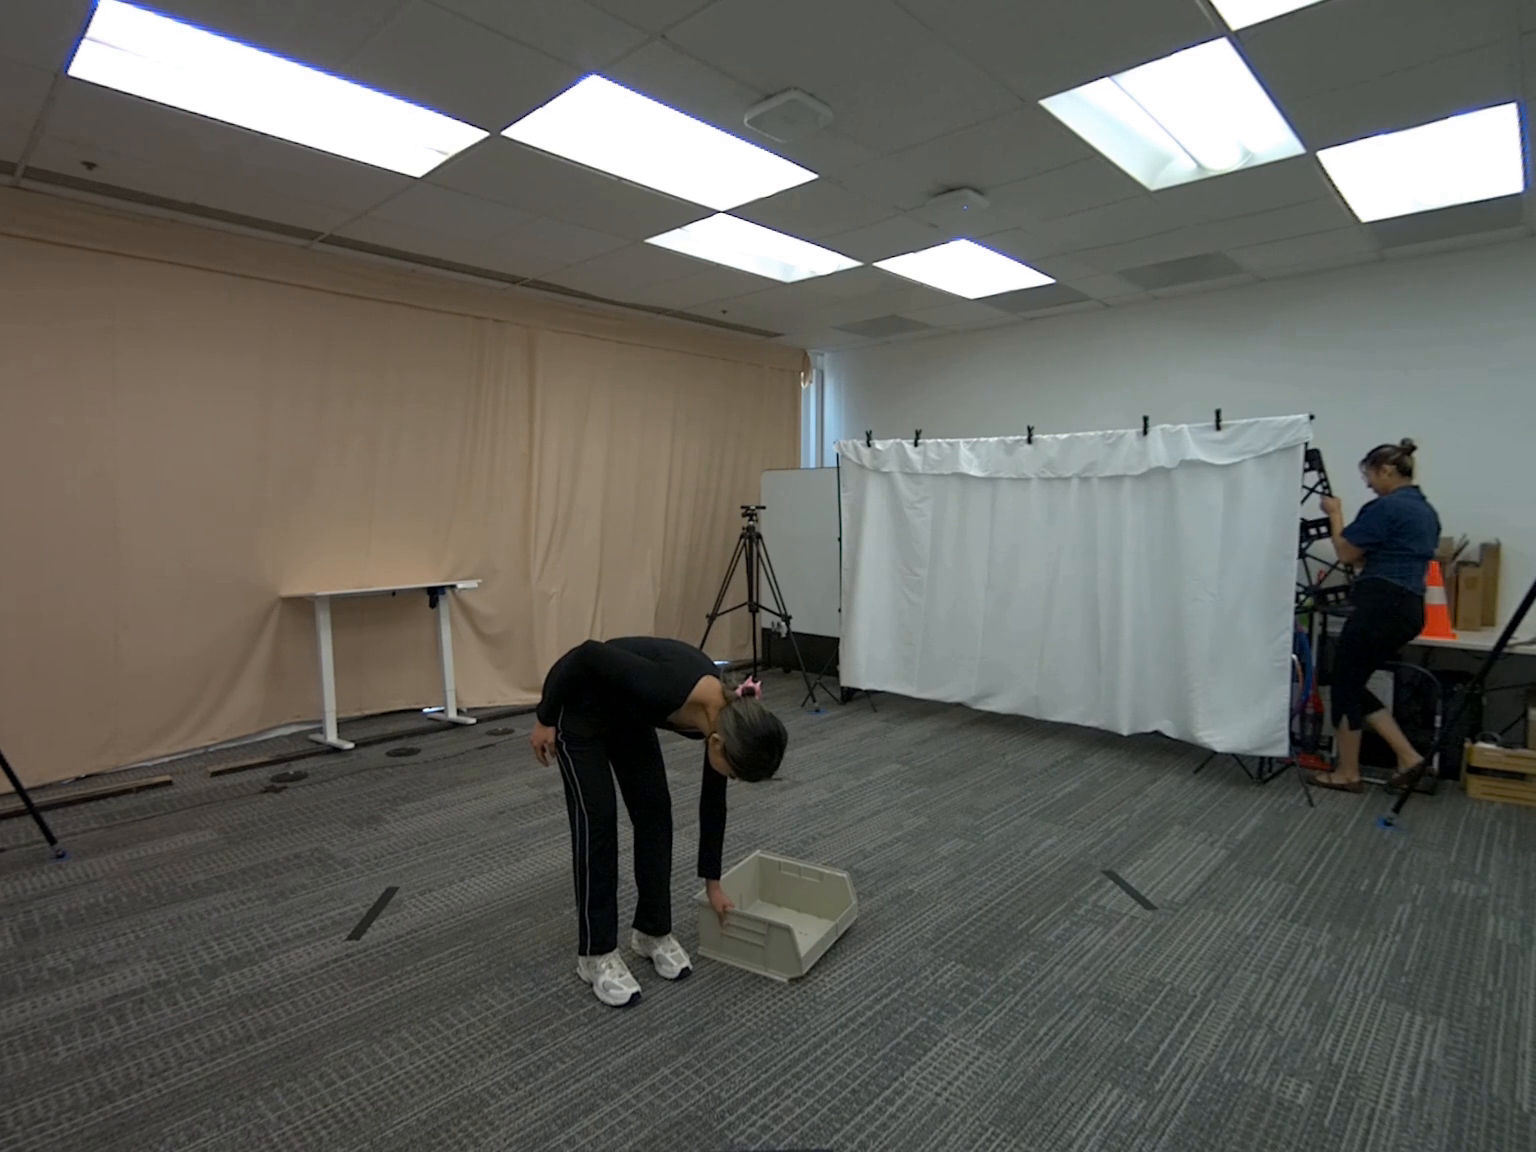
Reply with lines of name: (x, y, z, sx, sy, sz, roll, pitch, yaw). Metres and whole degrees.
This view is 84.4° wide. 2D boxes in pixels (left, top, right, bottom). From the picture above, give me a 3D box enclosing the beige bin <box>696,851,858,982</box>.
beige bin: (0.033, 1.081, 2.696, 0.388, 0.188, 0.411, 1, 5, 30)
